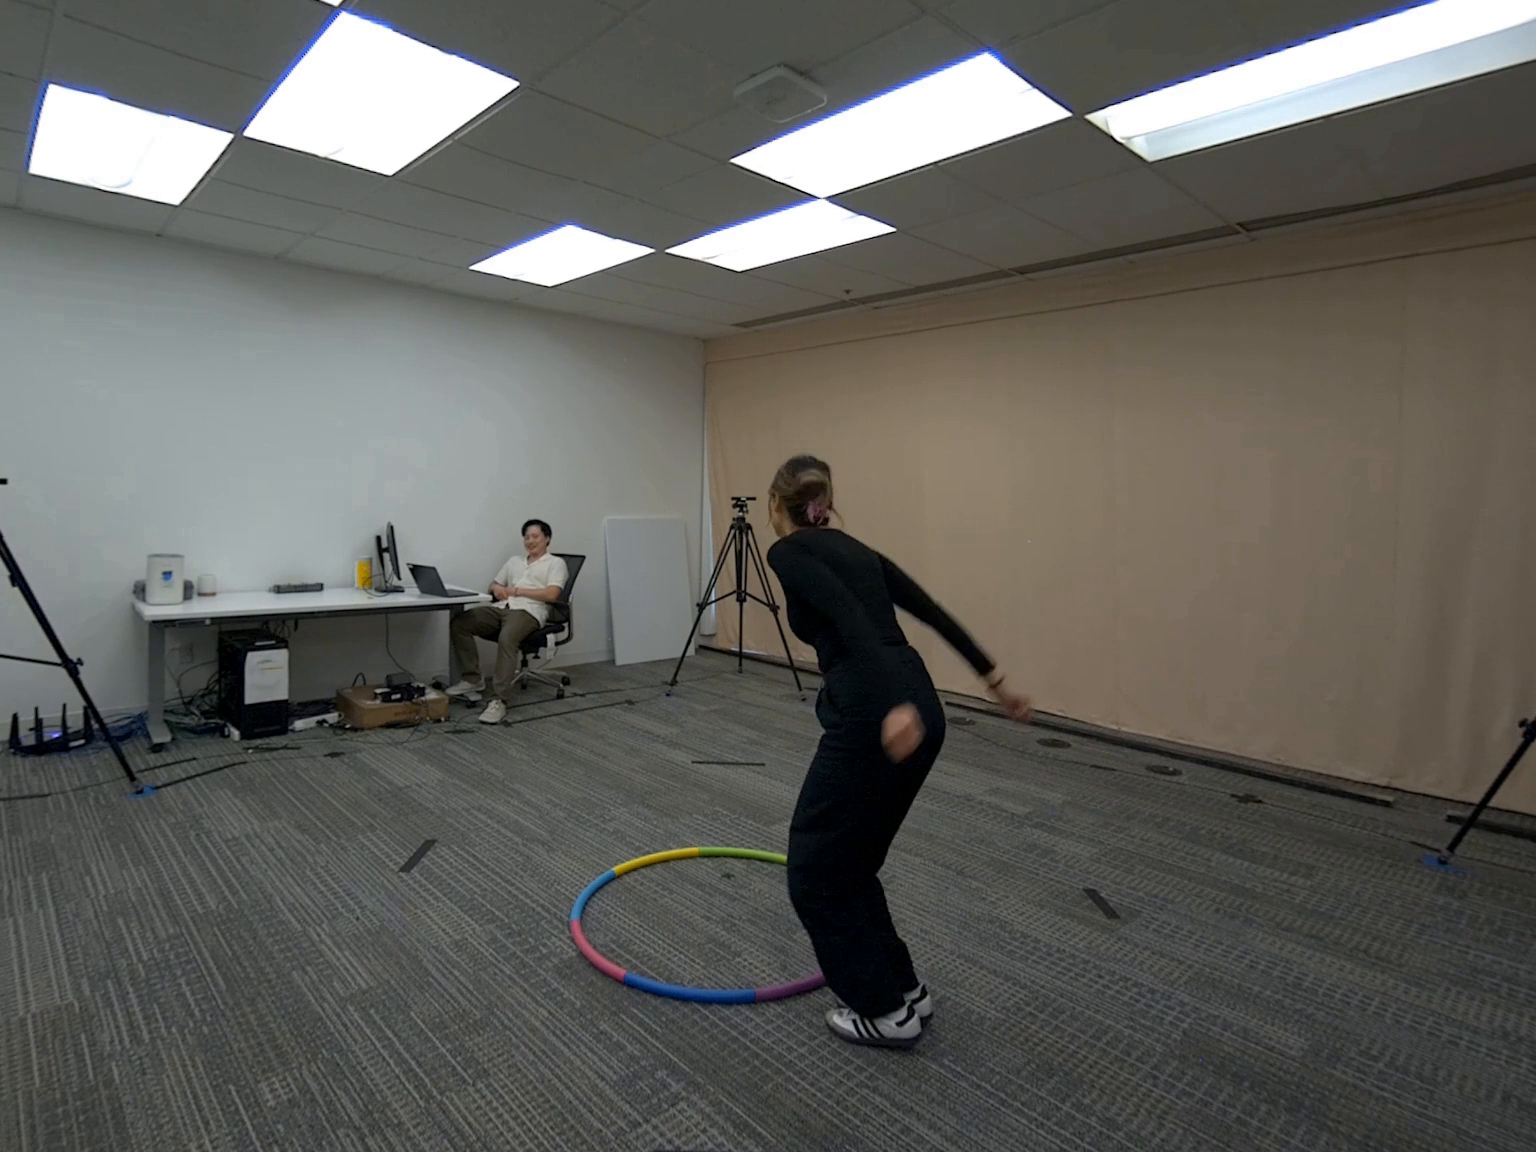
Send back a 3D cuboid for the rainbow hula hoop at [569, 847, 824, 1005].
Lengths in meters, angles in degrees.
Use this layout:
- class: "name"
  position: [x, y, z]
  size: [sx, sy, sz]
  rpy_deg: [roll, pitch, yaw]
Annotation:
- class: "rainbow hula hoop"
  position: [-0.162, 1.107, 2.800]
  size: [0.978, 0.035, 0.982]
  rpy_deg: [1, 5, -1]
